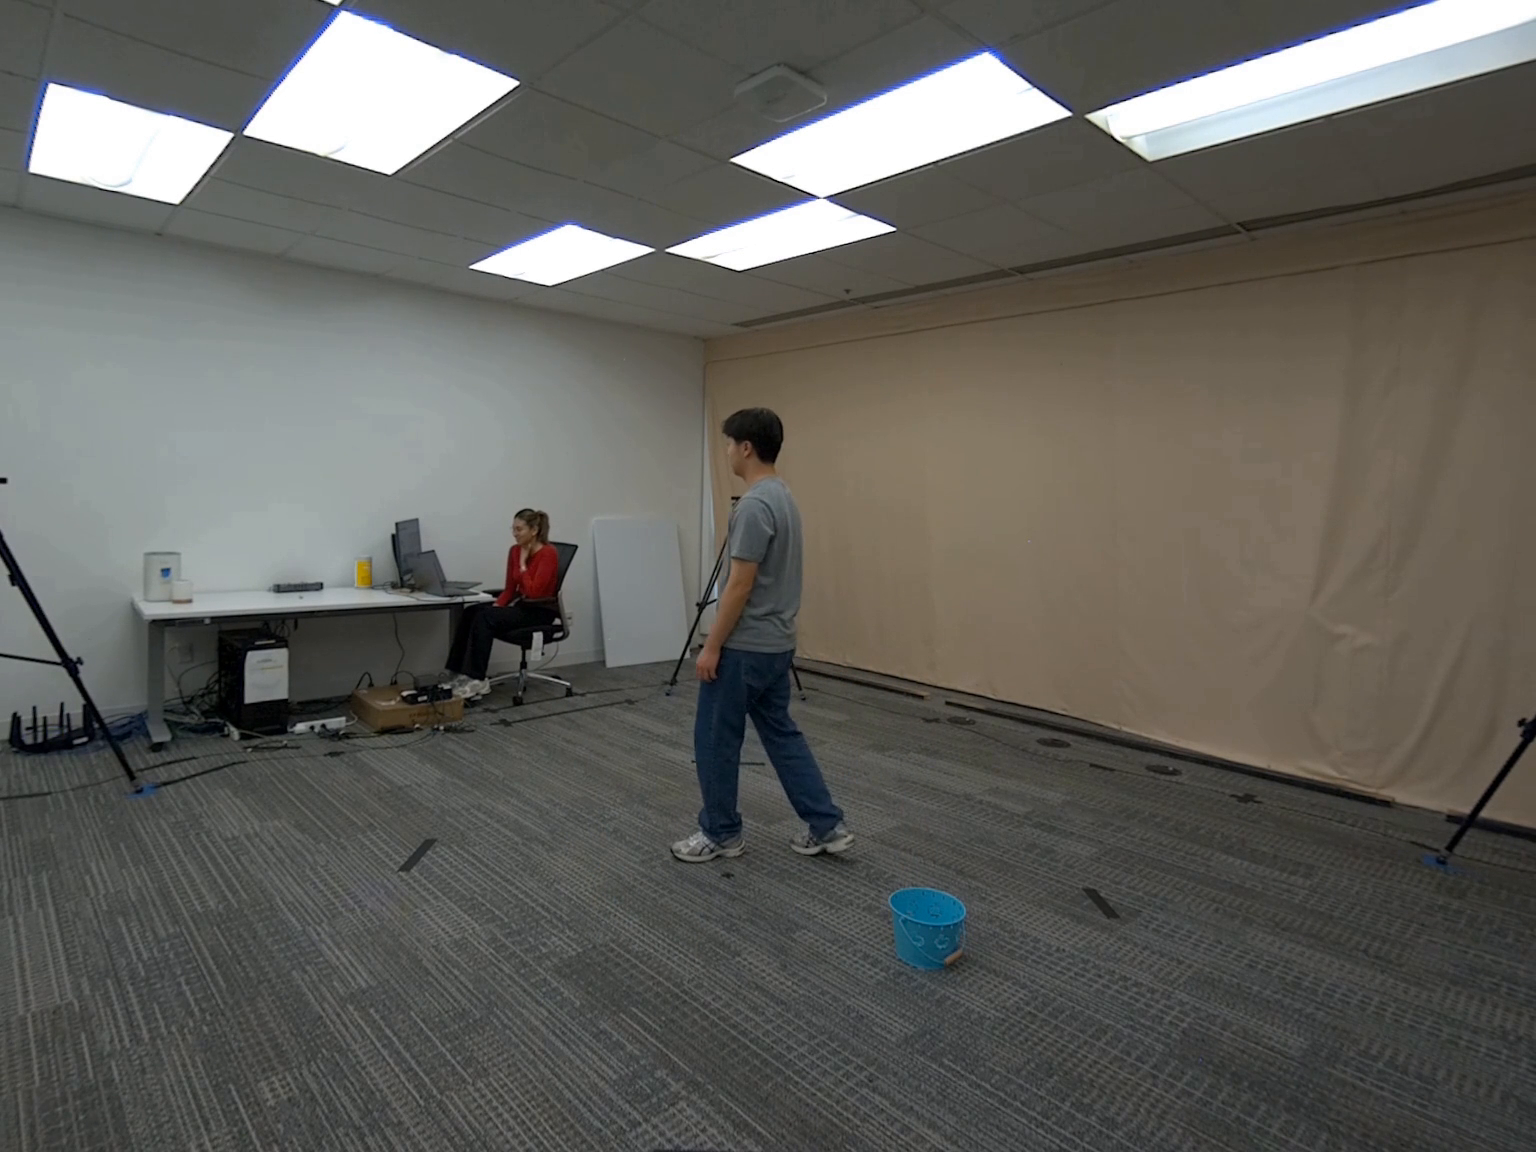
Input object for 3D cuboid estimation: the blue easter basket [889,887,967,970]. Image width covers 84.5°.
[{"bbox_3d":[0.481,1.088,2.595,0.243,0.155,0.244,1,5,-1],"label":"blue easter basket"}]
